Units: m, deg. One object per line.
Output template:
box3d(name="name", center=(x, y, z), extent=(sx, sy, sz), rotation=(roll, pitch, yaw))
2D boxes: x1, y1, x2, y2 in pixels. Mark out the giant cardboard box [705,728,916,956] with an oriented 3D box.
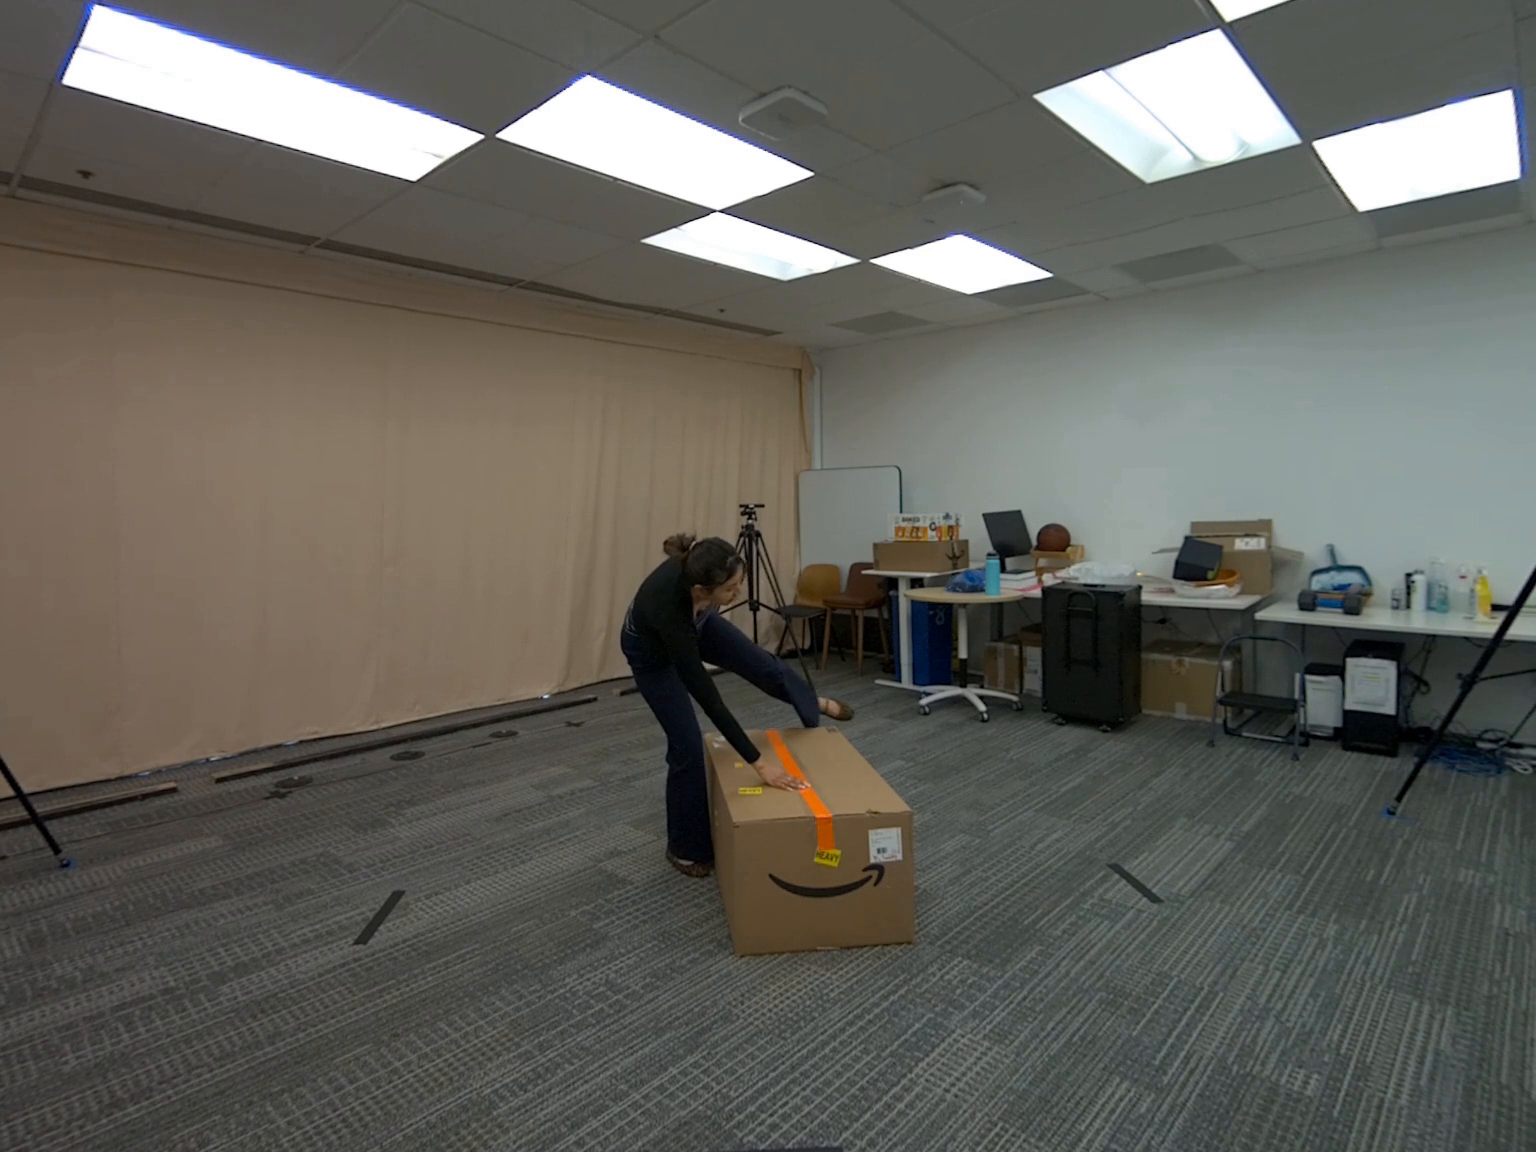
box3d(name="giant cardboard box", center=(0.102, 0.907, 3.116), extent=(0.573, 0.425, 1.037), rotation=(-2, 5, -9))
